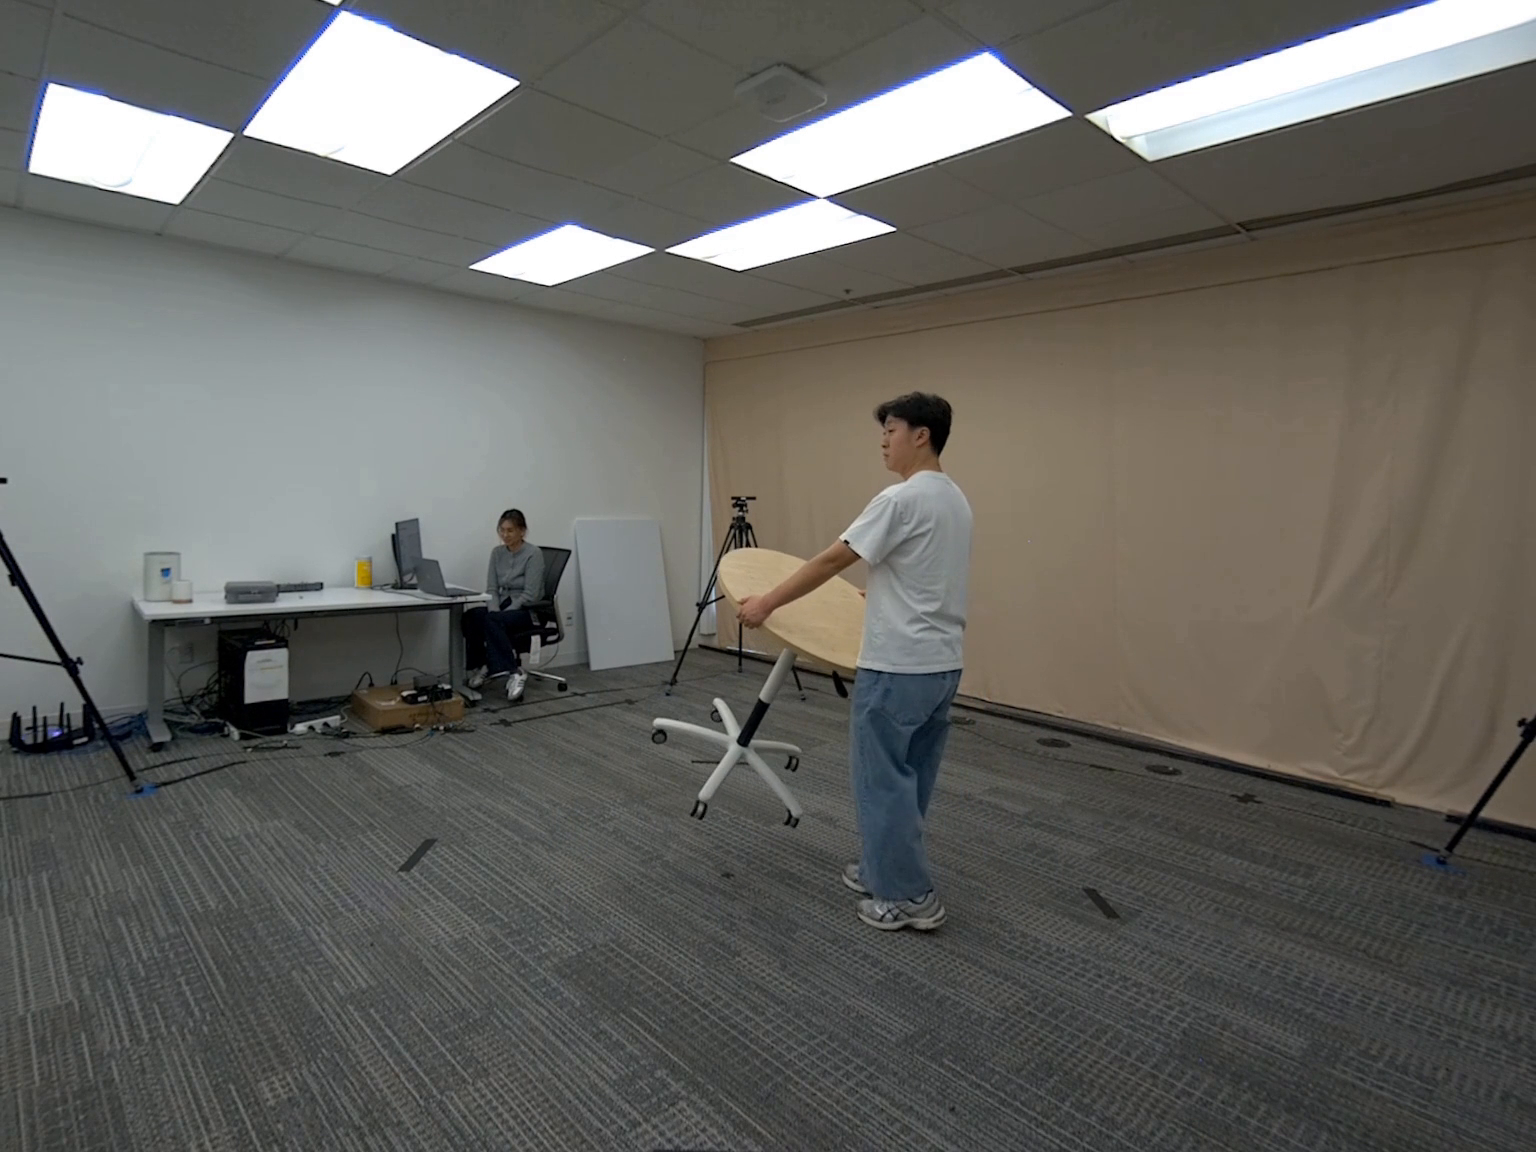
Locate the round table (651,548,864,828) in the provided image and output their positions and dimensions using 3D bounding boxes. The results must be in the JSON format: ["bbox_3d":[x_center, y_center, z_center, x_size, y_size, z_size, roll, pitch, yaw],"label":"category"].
[{"bbox_3d":[0.001,0.446,3.196,0.757,0.788,0.776,21,21,-10],"label":"round table"}]
